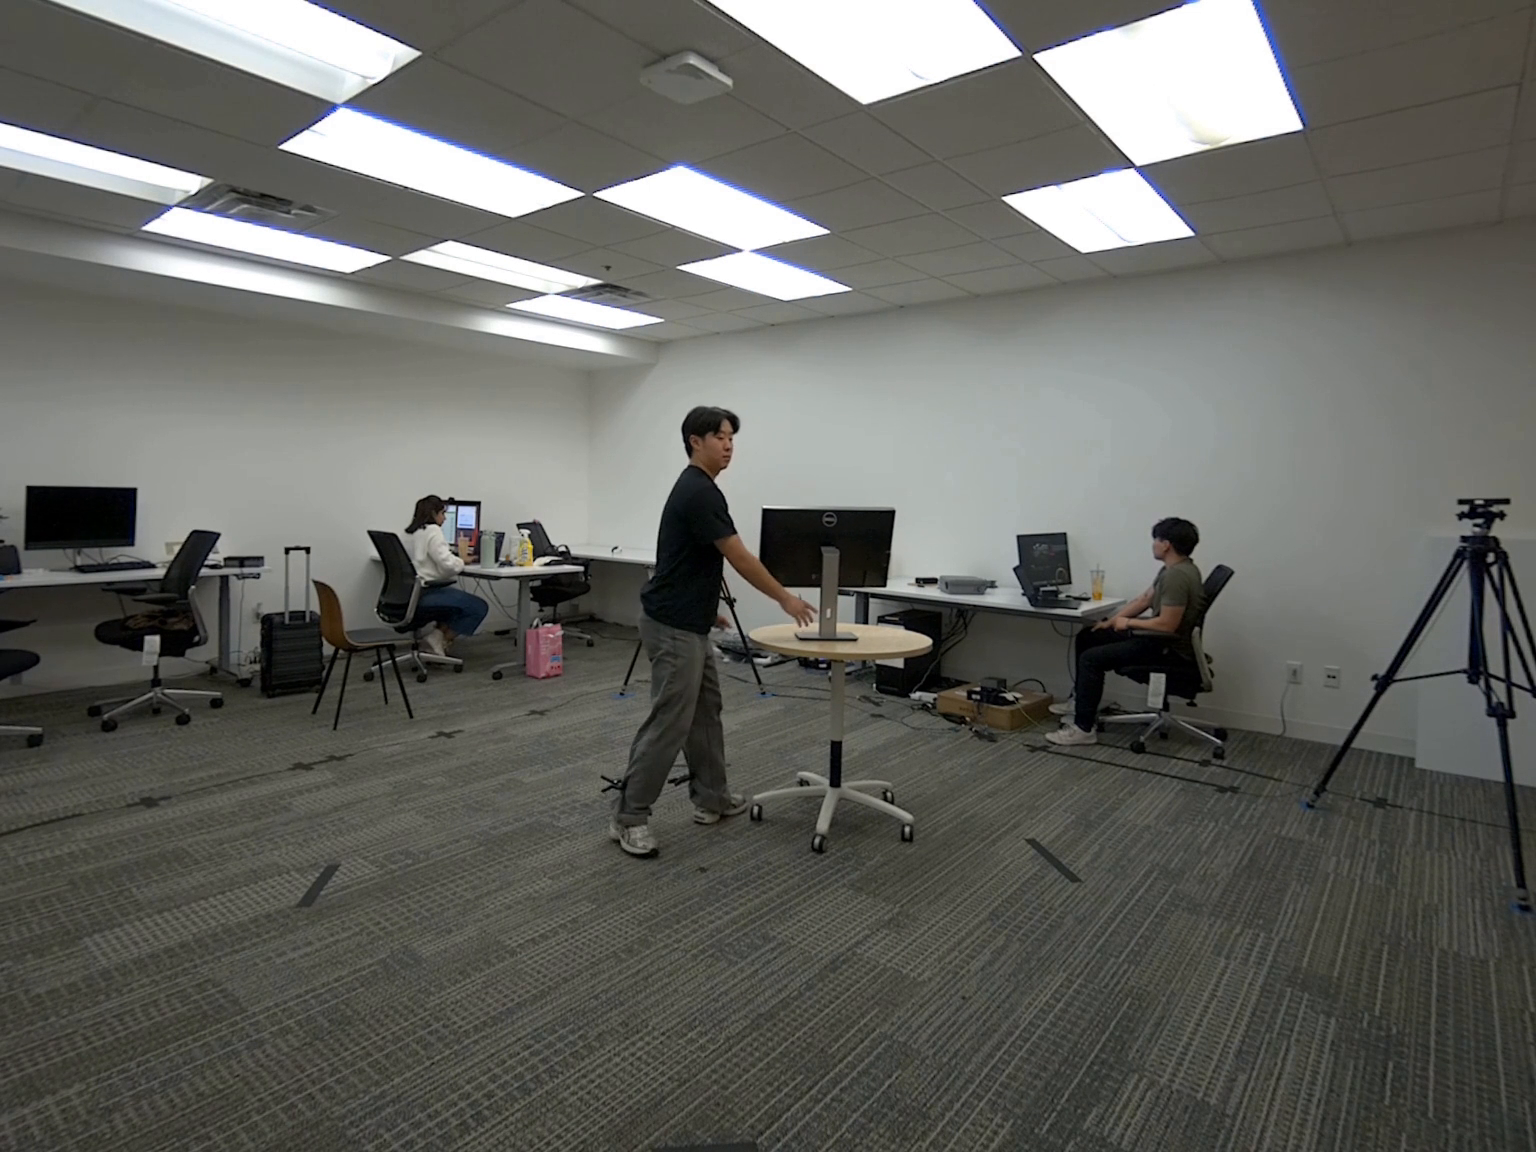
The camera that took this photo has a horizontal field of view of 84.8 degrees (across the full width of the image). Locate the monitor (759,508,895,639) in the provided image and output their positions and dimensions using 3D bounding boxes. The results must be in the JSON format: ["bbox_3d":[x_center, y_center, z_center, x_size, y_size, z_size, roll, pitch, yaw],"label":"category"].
[{"bbox_3d":[0.234,-0.013,3.562,0.561,0.563,0.223,1,5,-1],"label":"monitor"}]
